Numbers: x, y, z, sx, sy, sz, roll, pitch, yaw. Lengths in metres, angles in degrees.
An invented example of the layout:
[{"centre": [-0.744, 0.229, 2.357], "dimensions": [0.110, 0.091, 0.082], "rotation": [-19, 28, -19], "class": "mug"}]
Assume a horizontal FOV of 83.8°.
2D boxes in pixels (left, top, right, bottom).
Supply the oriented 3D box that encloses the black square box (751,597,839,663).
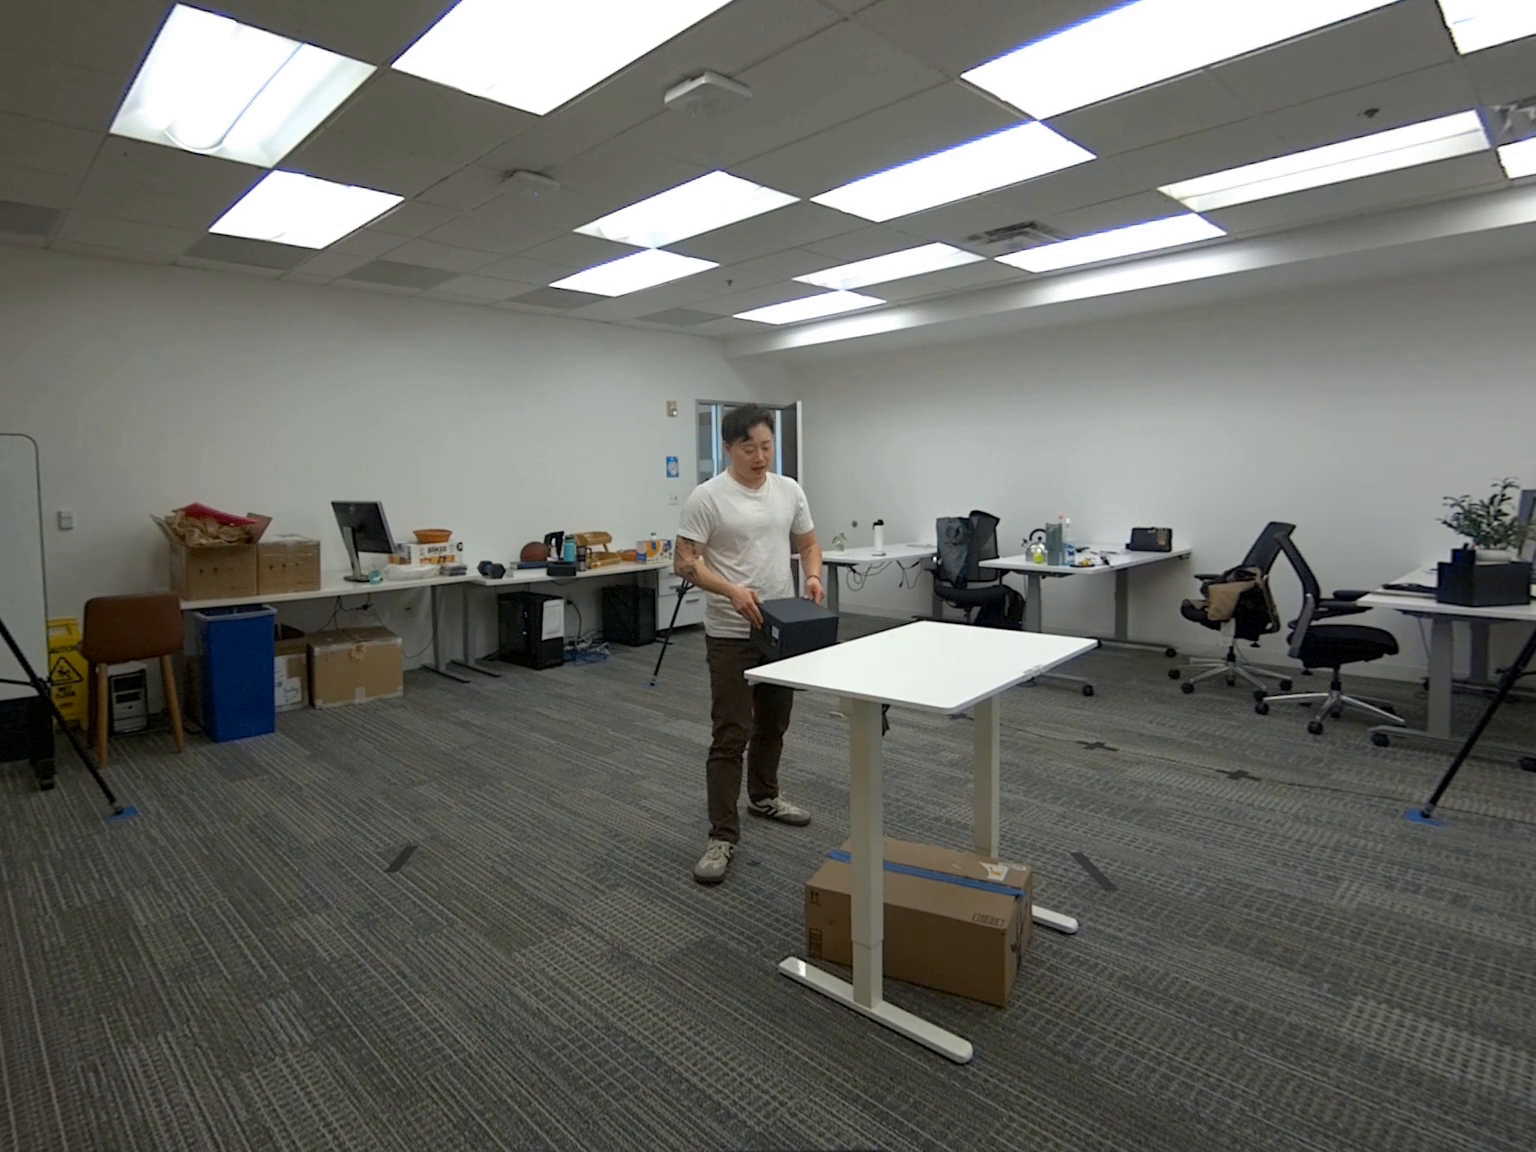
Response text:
[{"centre": [0.080, 0.188, 3.008], "dimensions": [0.223, 0.154, 0.224], "rotation": [-4, 17, -27], "class": "black square box"}]
